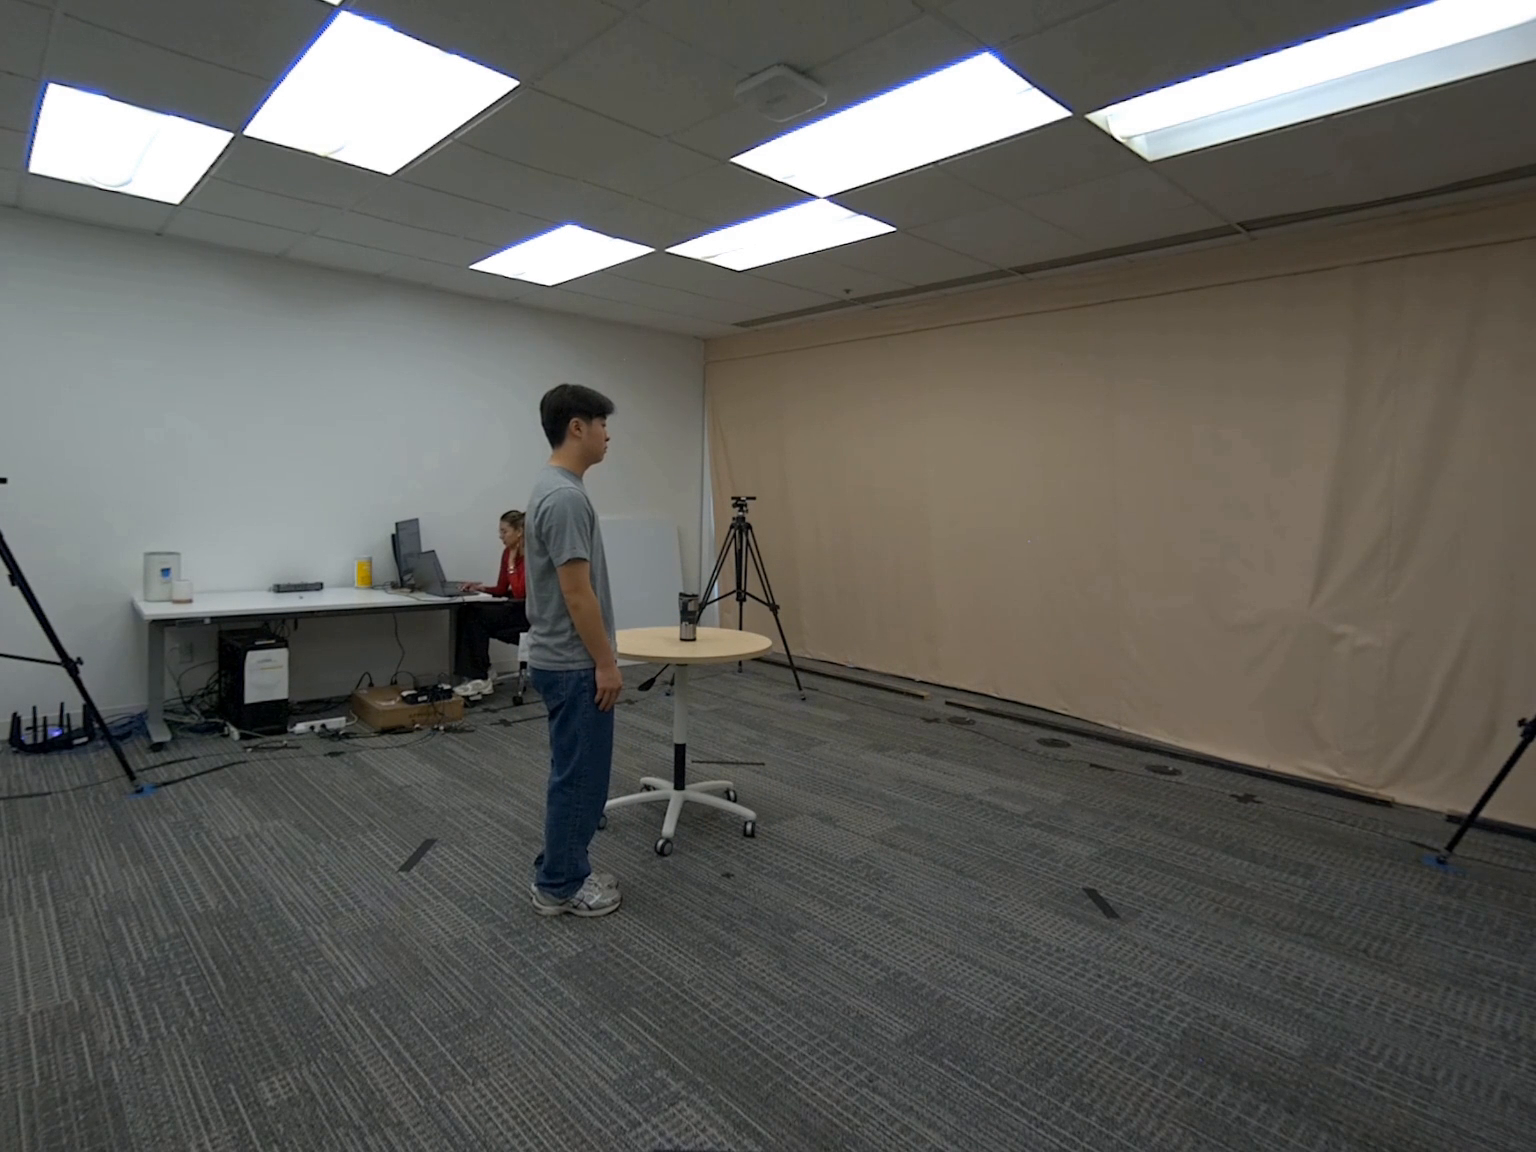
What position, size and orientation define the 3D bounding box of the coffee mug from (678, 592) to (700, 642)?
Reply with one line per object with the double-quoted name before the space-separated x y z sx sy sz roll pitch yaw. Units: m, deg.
"coffee mug" -0.358 0.174 3.564 0.090 0.202 0.119 9 4 37
